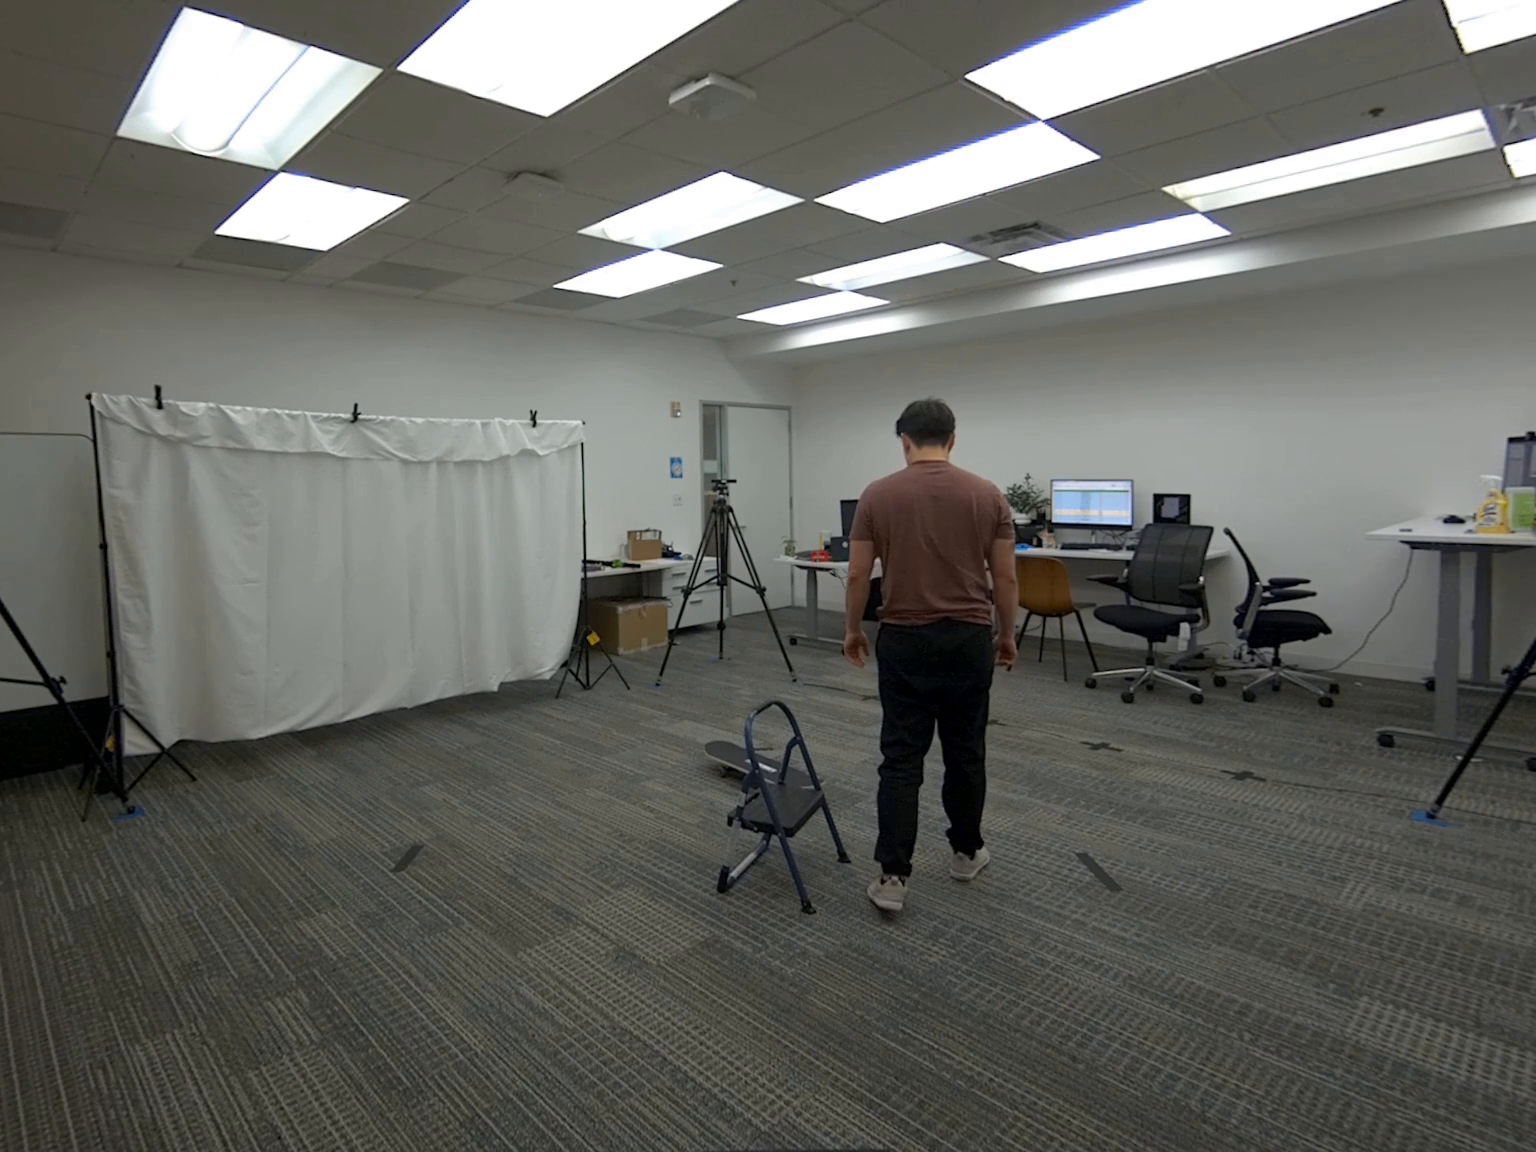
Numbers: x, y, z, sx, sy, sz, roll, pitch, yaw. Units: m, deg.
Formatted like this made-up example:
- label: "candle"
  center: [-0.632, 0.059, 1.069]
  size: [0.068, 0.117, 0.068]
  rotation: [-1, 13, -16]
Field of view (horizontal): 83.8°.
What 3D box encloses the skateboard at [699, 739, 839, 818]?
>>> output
- label: "skateboard"
  center: [-0.020, 0.906, 3.916]
  size: [0.188, 0.110, 0.809]
  rotation: [-5, 7, -36]
